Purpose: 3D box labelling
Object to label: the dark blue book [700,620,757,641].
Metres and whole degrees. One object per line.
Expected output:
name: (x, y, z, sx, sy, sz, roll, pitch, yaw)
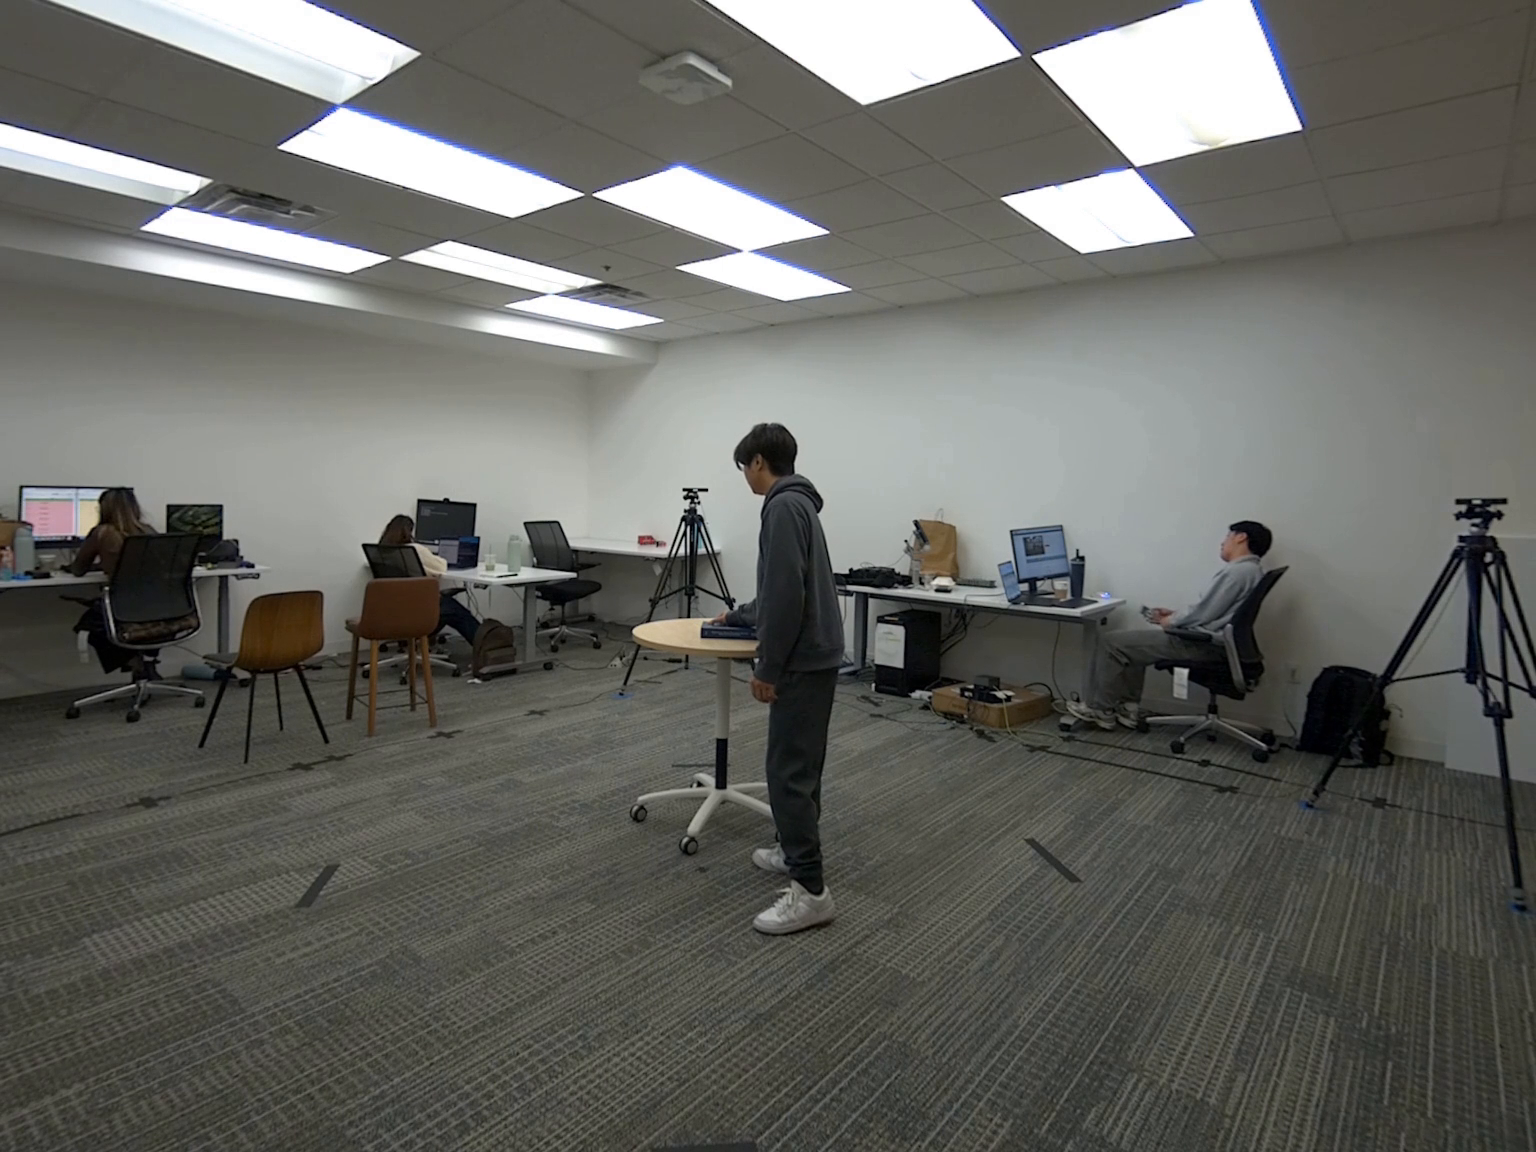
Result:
dark blue book: (-0.161, 0.221, 3.452, 0.246, 0.045, 0.163, 2, 4, 1)
